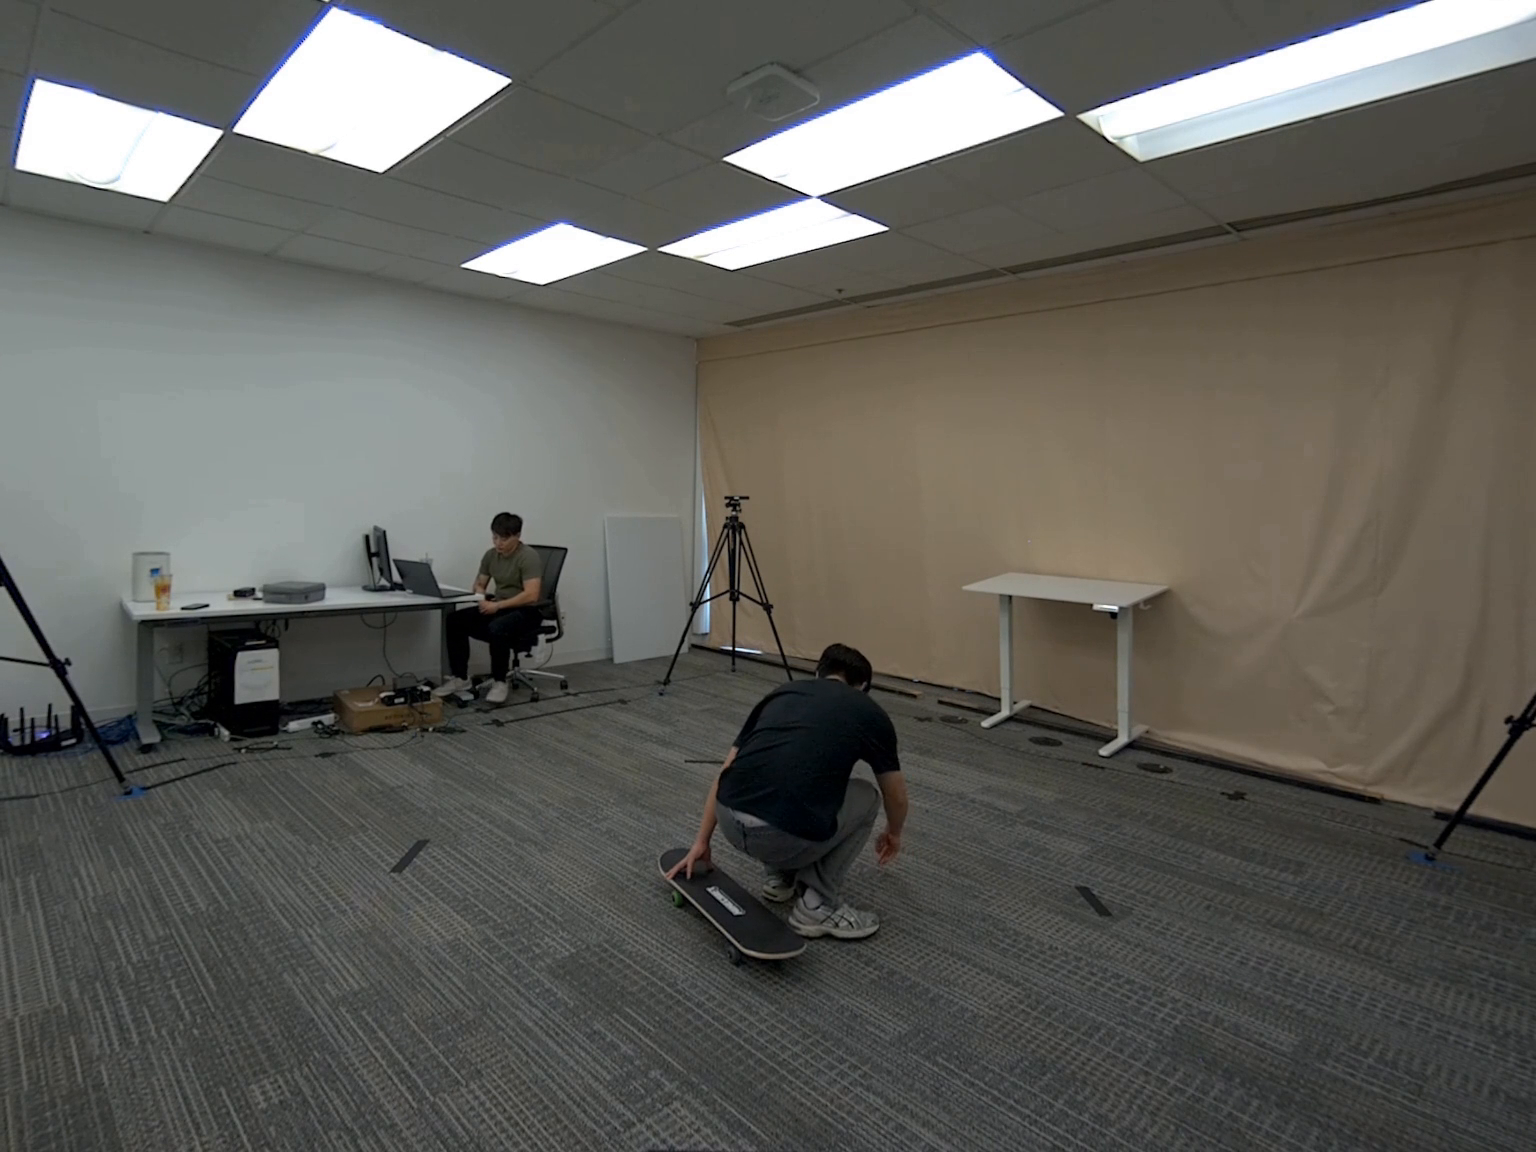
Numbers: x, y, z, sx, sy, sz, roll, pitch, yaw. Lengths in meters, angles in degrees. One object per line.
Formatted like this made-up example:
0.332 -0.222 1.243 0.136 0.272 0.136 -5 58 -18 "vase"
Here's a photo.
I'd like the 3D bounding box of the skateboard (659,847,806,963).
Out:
-0.146 1.081 2.725 0.189 0.110 0.804 -1 5 -31 "skateboard"
